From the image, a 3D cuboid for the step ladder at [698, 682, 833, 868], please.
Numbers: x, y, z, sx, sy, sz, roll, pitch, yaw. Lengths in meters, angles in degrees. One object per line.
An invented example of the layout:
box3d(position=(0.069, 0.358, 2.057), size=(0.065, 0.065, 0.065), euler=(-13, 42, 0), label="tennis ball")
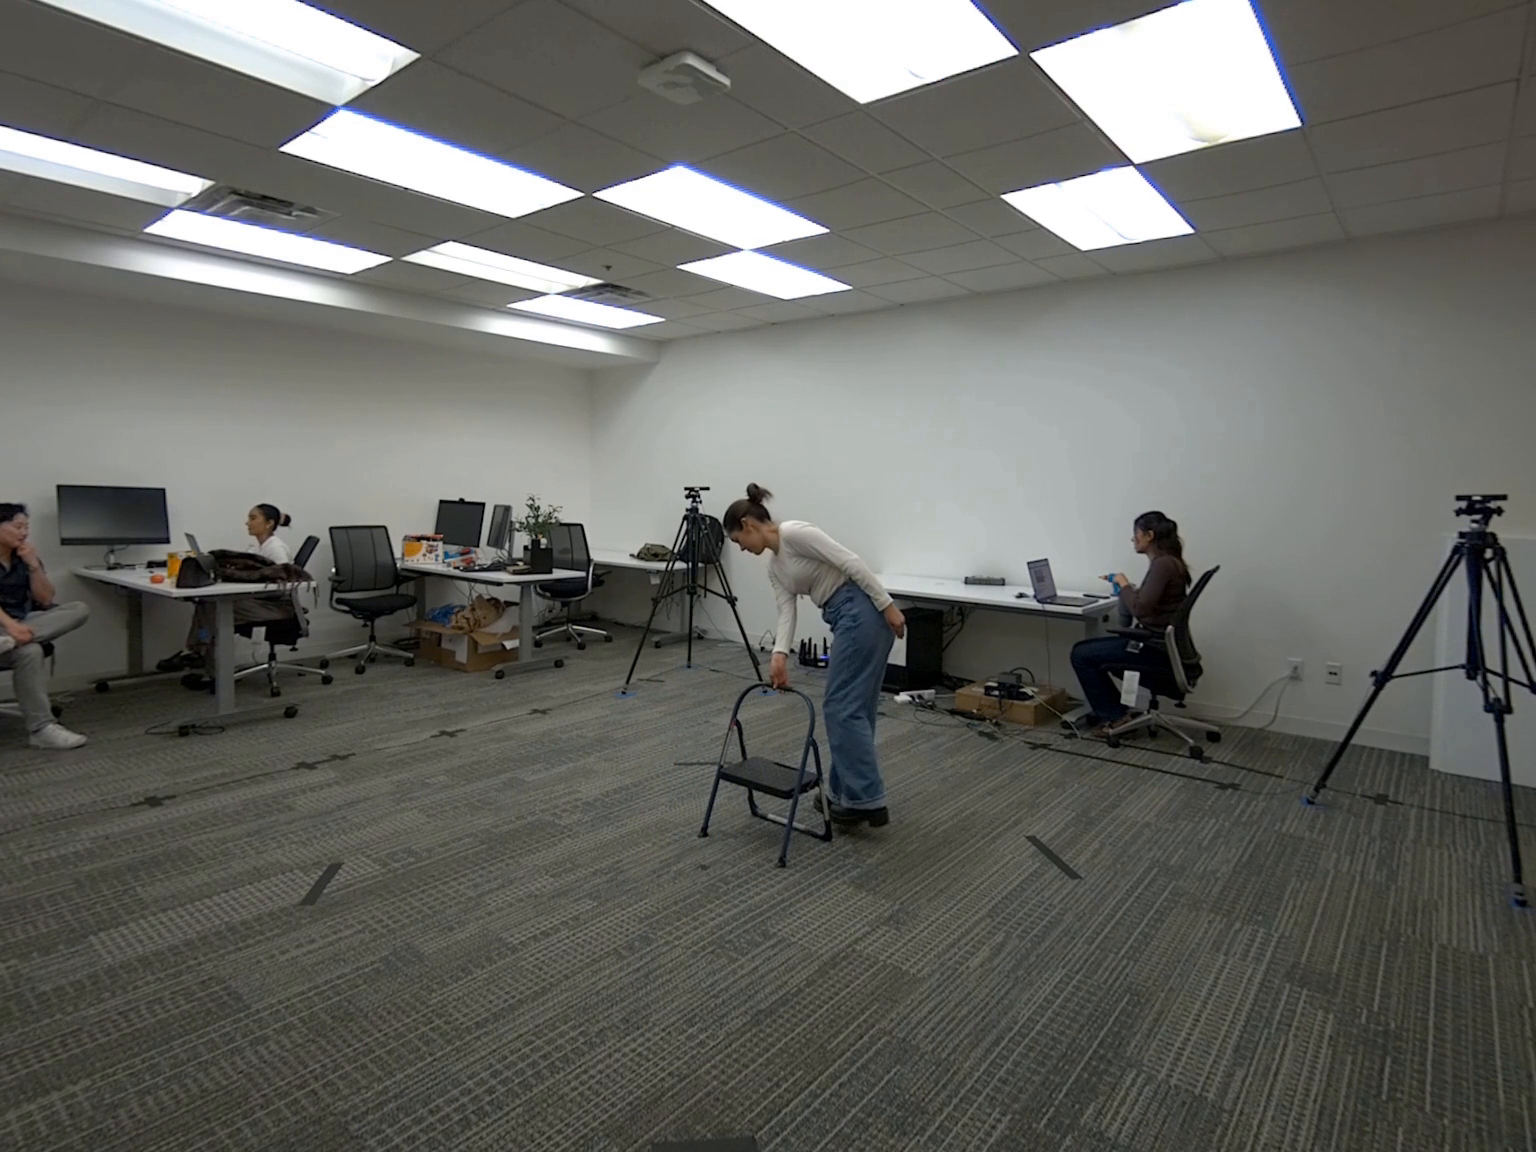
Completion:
box3d(position=(-0.008, 0.742, 3.369), size=(0.445, 0.604, 0.339), euler=(4, 5, 39), label="step ladder")
